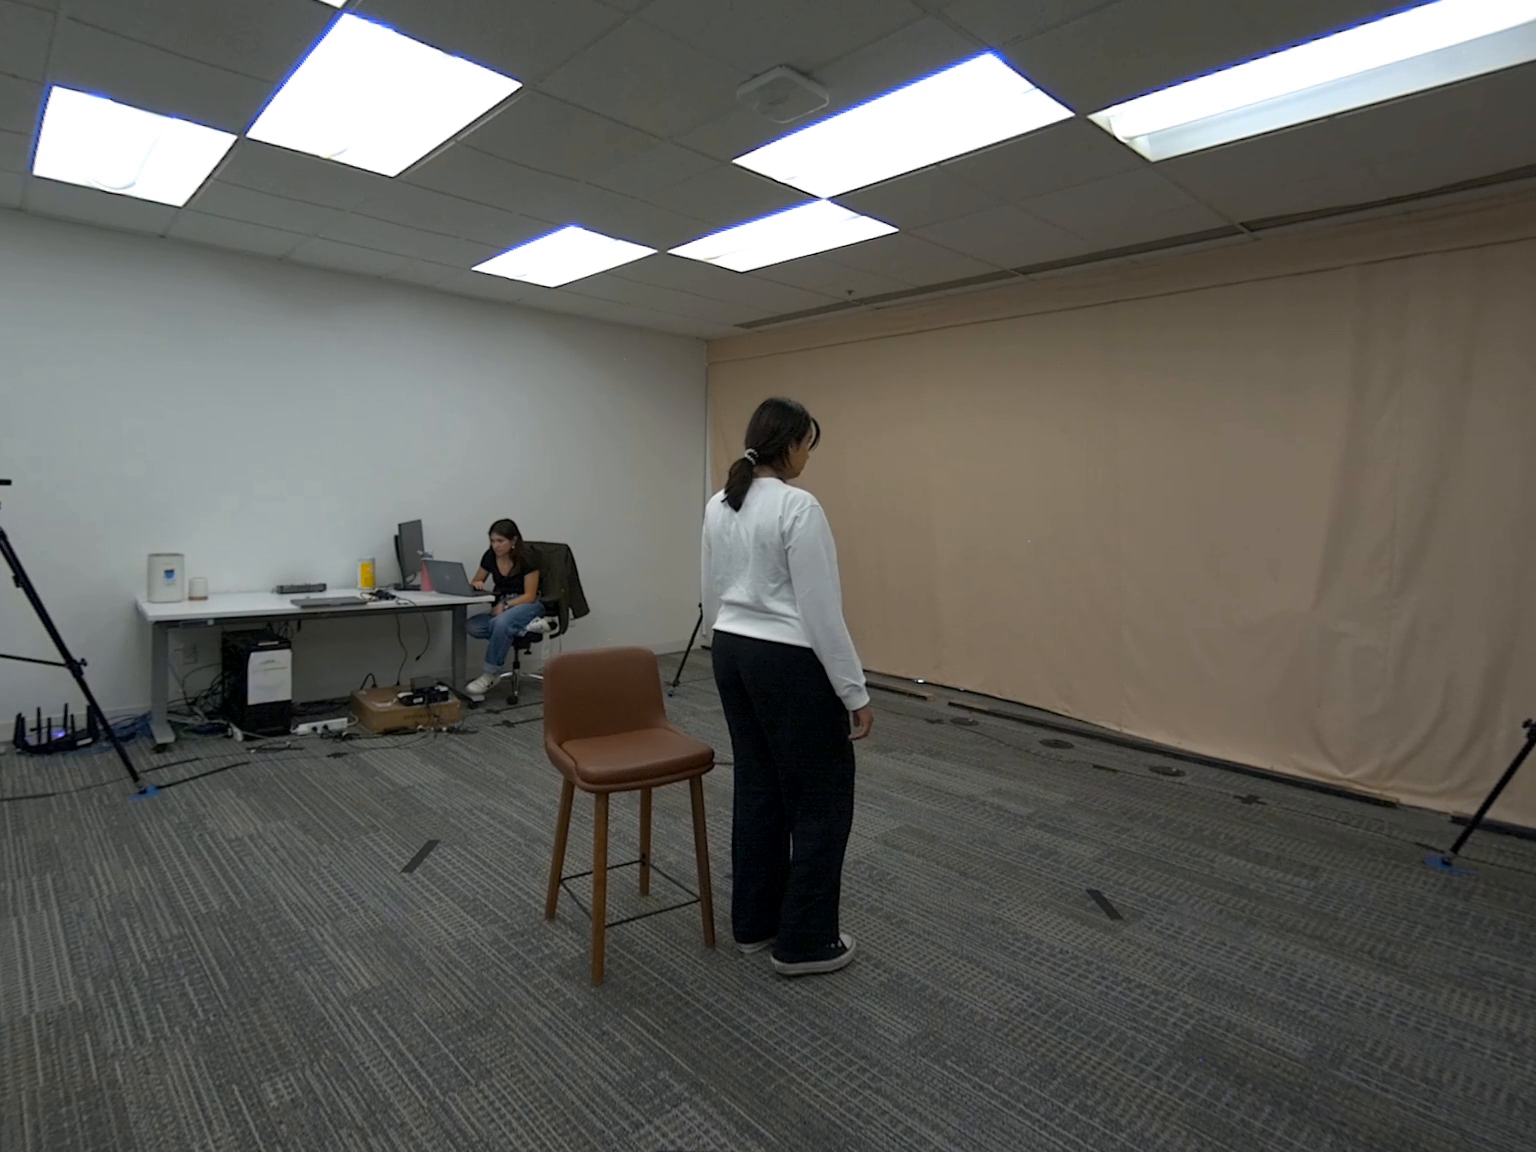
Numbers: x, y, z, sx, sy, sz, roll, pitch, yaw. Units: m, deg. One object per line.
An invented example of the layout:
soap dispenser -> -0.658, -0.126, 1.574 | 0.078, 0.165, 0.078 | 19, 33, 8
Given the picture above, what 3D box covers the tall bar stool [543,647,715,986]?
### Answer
tall bar stool -> -0.455, 0.706, 2.667 | 0.447, 0.889, 0.478 | -1, 2, -34
